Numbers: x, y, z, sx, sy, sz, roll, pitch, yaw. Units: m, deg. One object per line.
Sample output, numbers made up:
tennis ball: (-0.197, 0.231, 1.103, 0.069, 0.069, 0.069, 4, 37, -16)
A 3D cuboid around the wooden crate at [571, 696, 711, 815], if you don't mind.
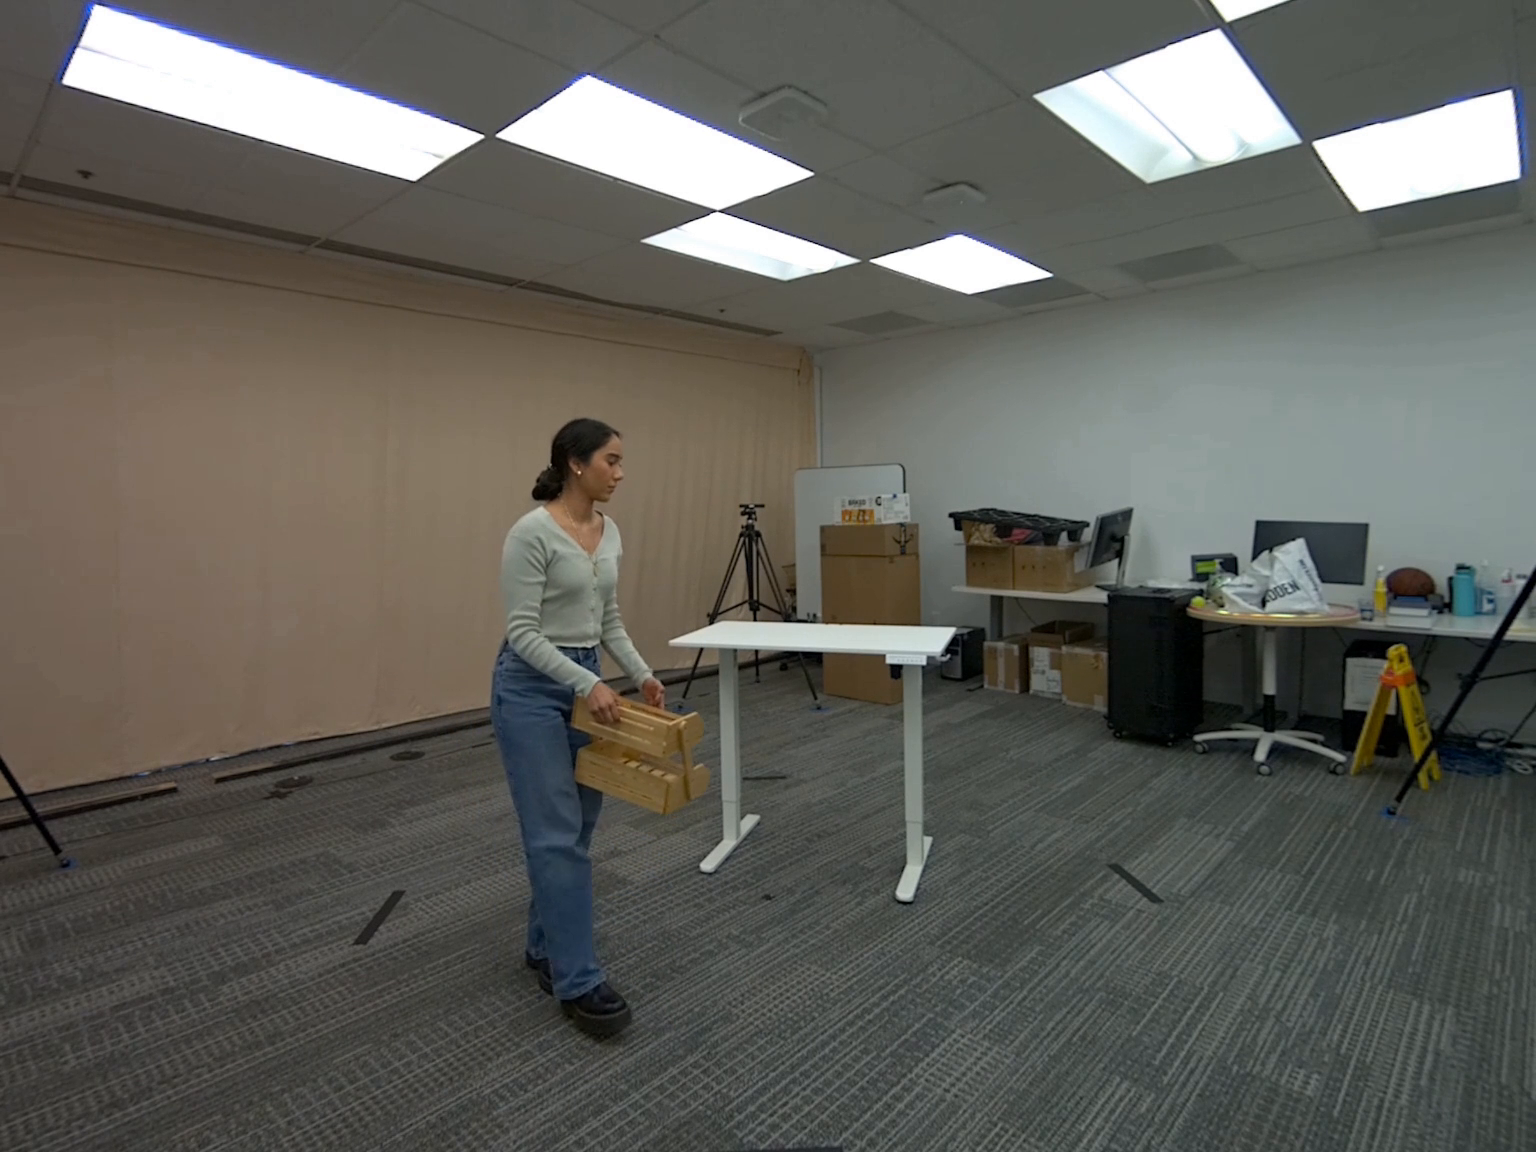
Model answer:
wooden crate: (-0.340, 0.467, 2.335, 0.333, 0.272, 0.295, 12, 7, 24)
